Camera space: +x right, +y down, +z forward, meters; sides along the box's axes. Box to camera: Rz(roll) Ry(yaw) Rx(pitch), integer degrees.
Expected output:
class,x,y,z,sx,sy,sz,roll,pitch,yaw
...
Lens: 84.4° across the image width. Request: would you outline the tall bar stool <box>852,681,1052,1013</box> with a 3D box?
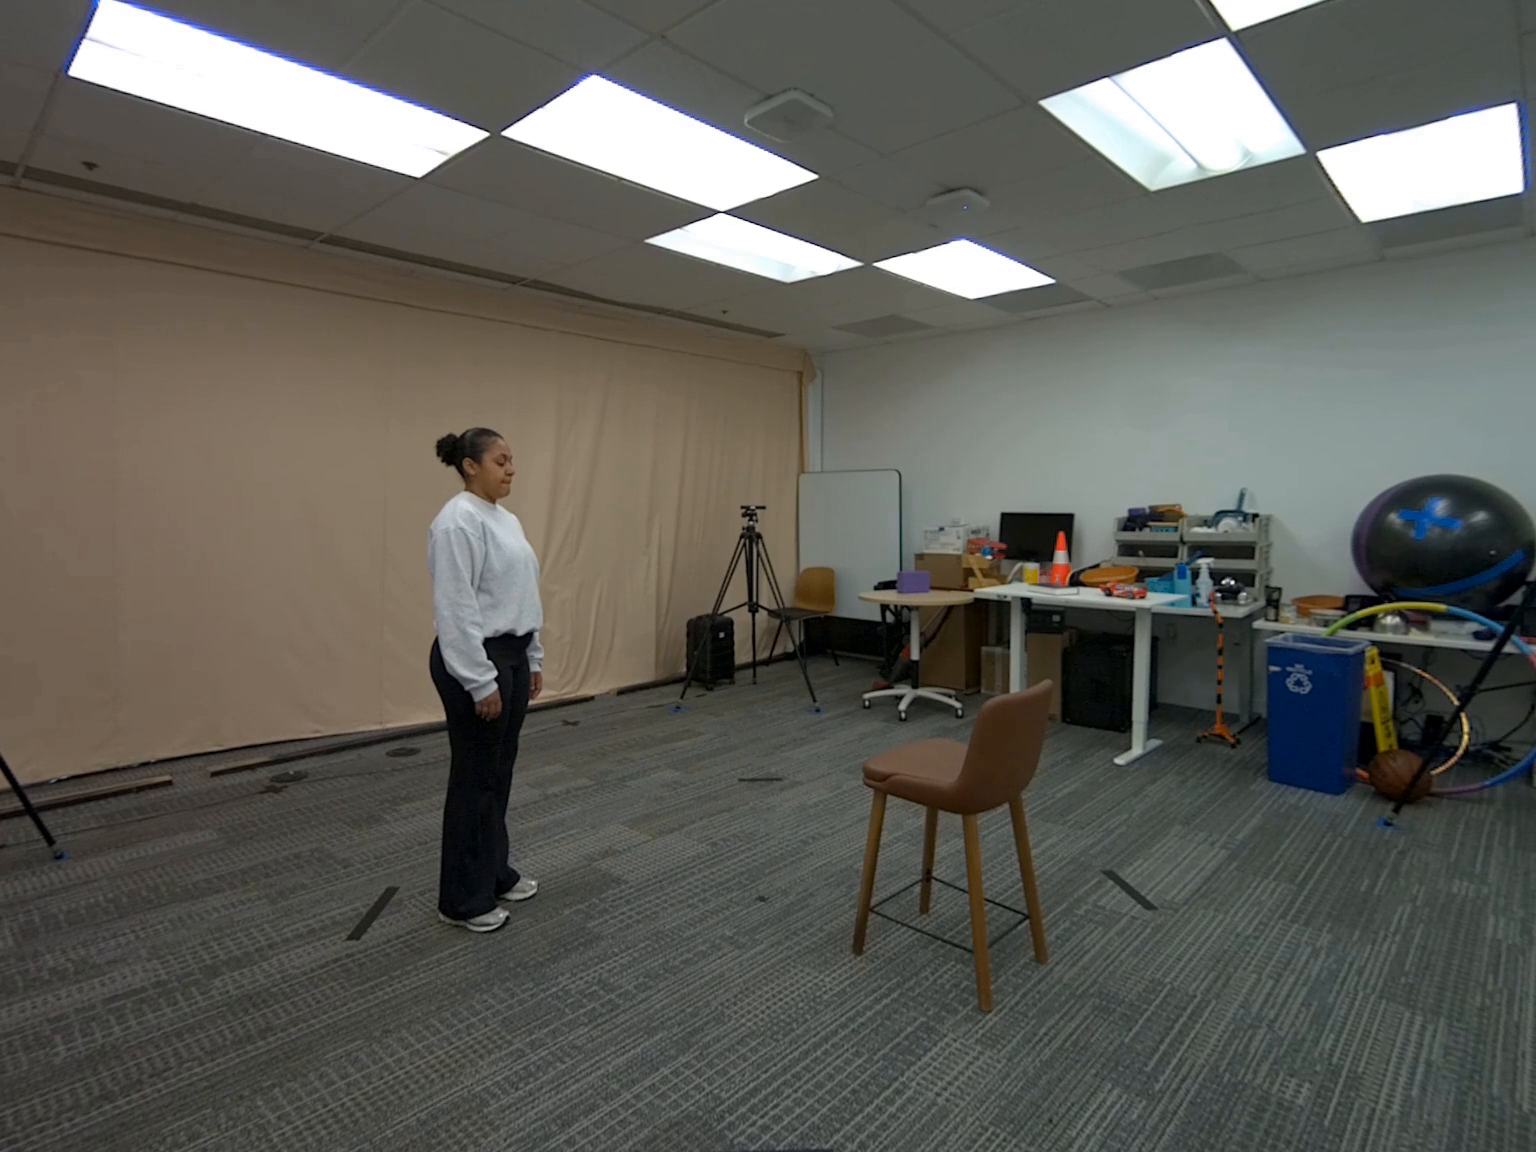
class,x,y,z,sx,sy,sz,roll,pitch,yaw
tall bar stool,0.573,0.742,2.563,0.483,0.887,0.442,6,7,44
